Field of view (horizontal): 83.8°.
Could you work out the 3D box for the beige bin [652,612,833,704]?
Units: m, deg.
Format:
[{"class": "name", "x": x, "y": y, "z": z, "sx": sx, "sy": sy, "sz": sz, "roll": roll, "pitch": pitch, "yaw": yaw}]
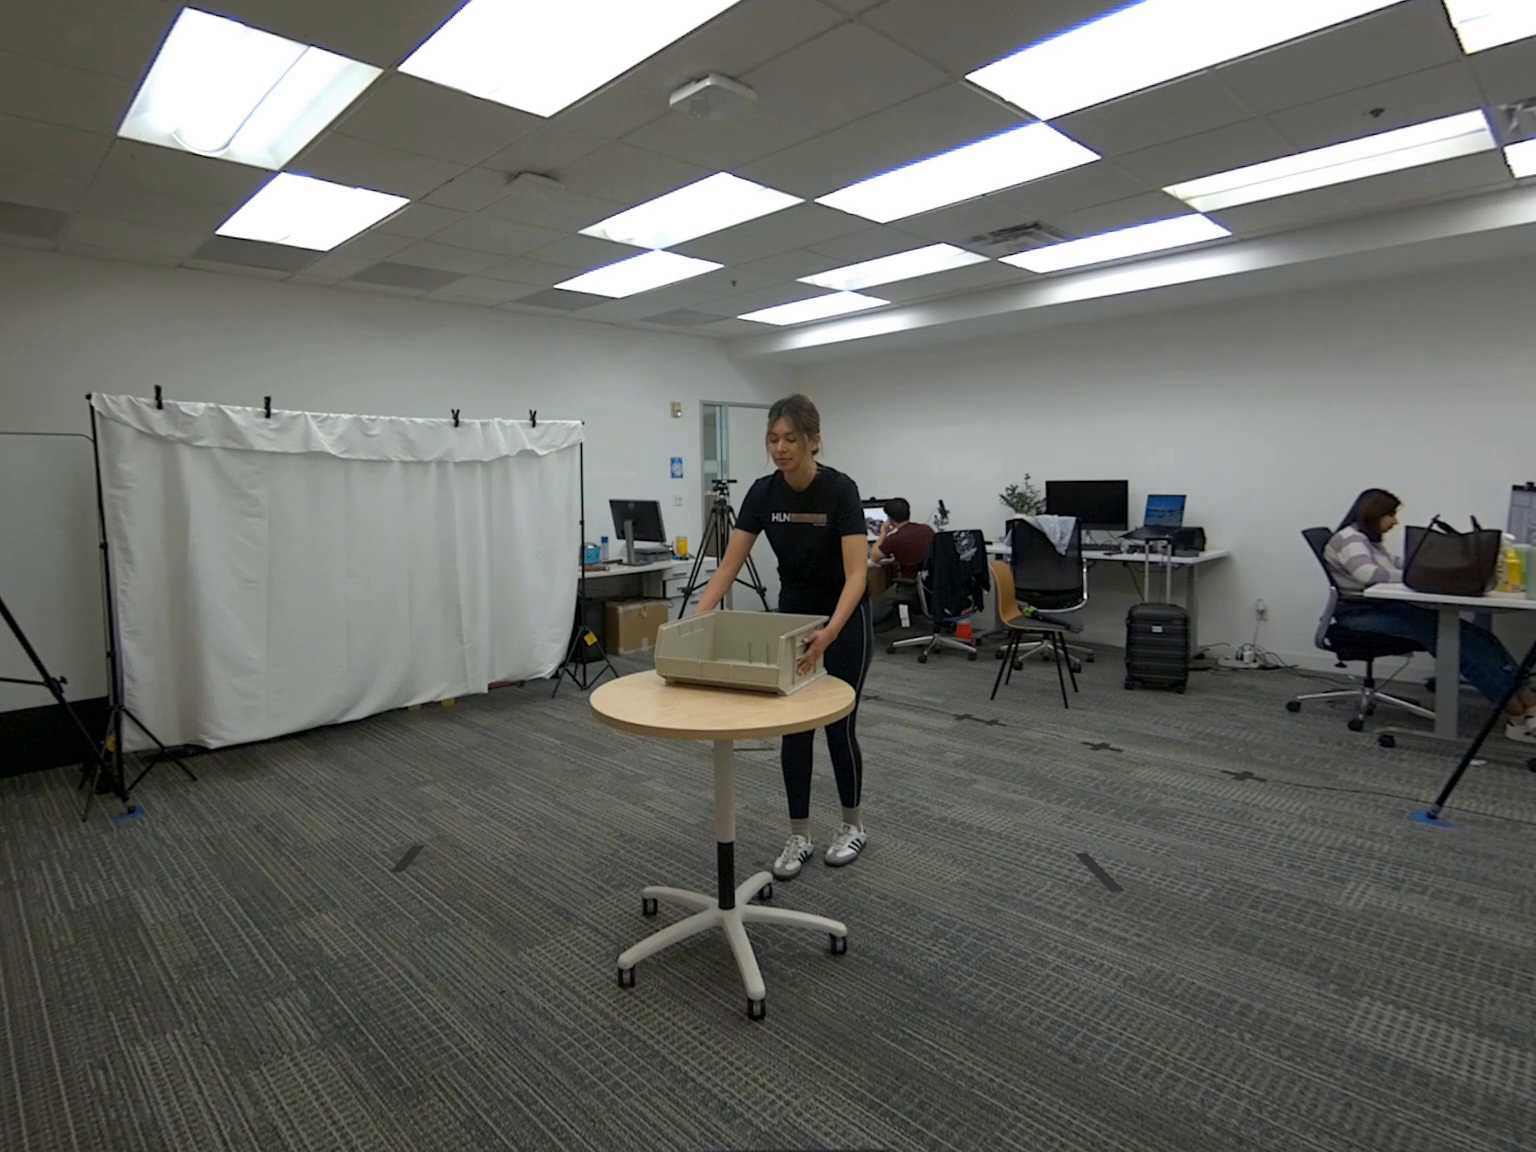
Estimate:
[{"class": "beige bin", "x": -0.074, "y": 0.235, "z": 2.616, "sx": 0.432, "sy": 0.188, "sz": 0.369, "roll": 1, "pitch": 4, "yaw": 27}]
